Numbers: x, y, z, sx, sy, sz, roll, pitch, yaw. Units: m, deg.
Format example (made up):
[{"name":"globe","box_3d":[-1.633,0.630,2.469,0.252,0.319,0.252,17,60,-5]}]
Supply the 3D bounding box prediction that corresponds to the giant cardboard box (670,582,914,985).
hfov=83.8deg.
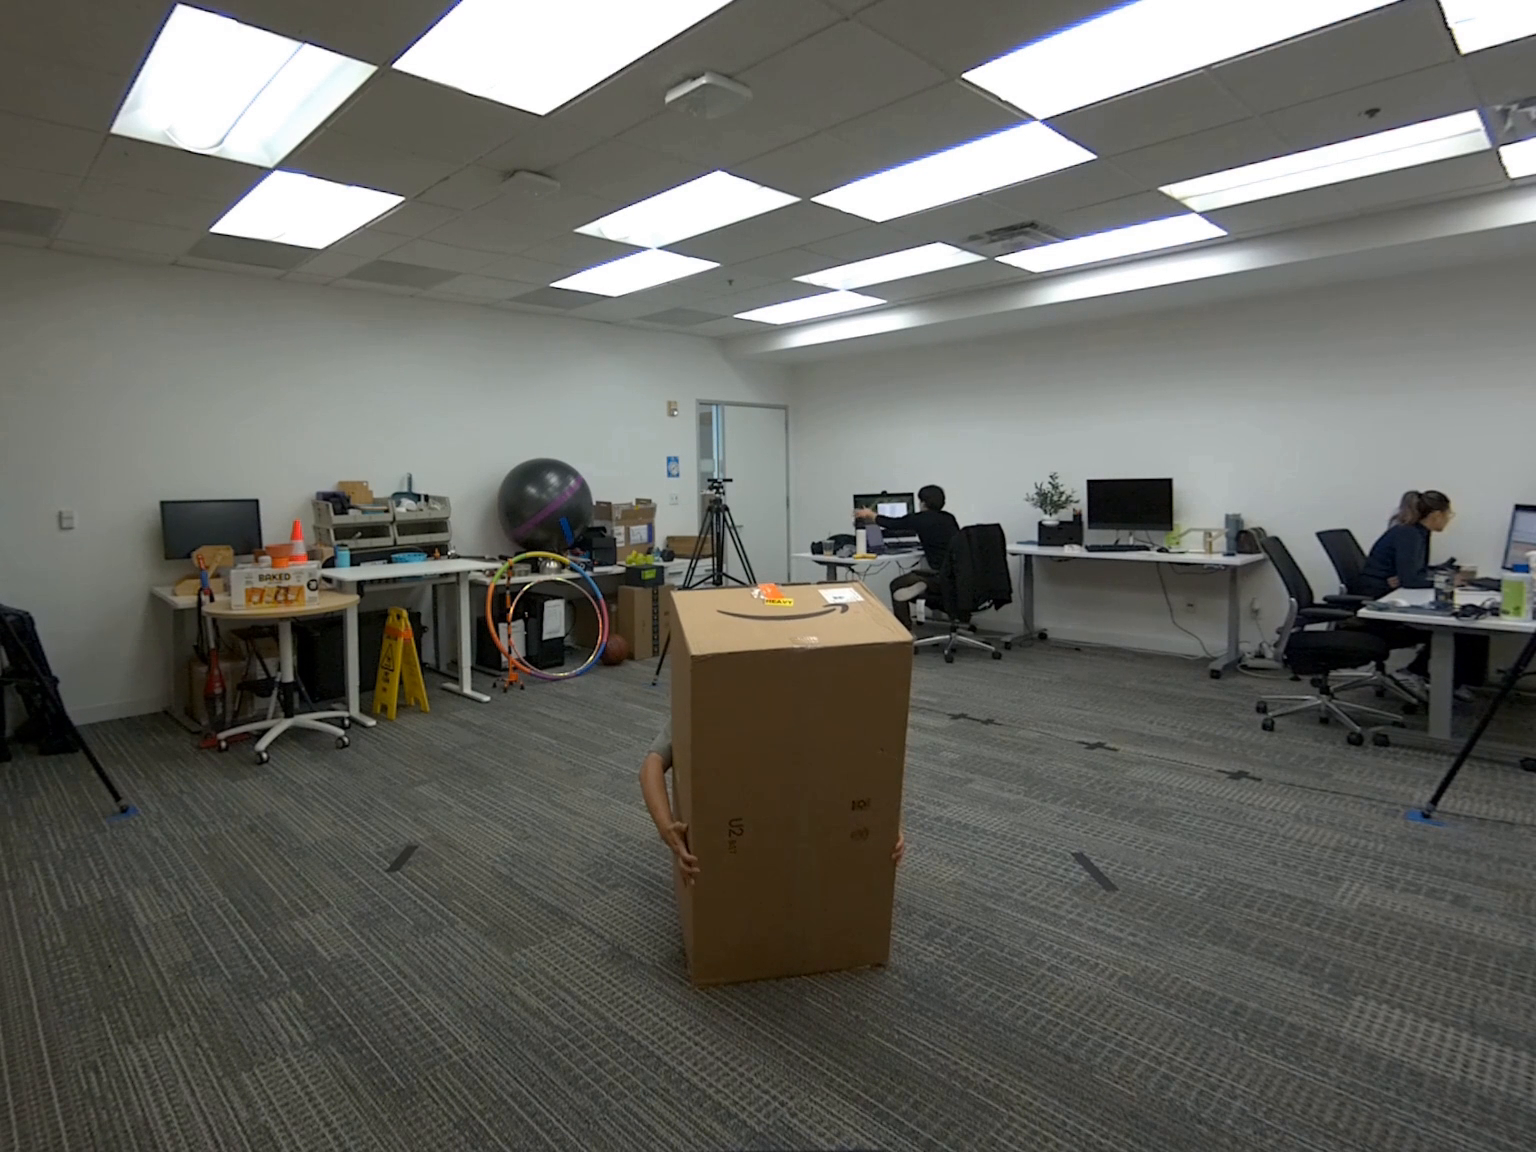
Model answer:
[{"name":"giant cardboard box","box_3d":[0.029,0.576,2.428,0.573,1.011,0.436,-2,17,-10]}]
